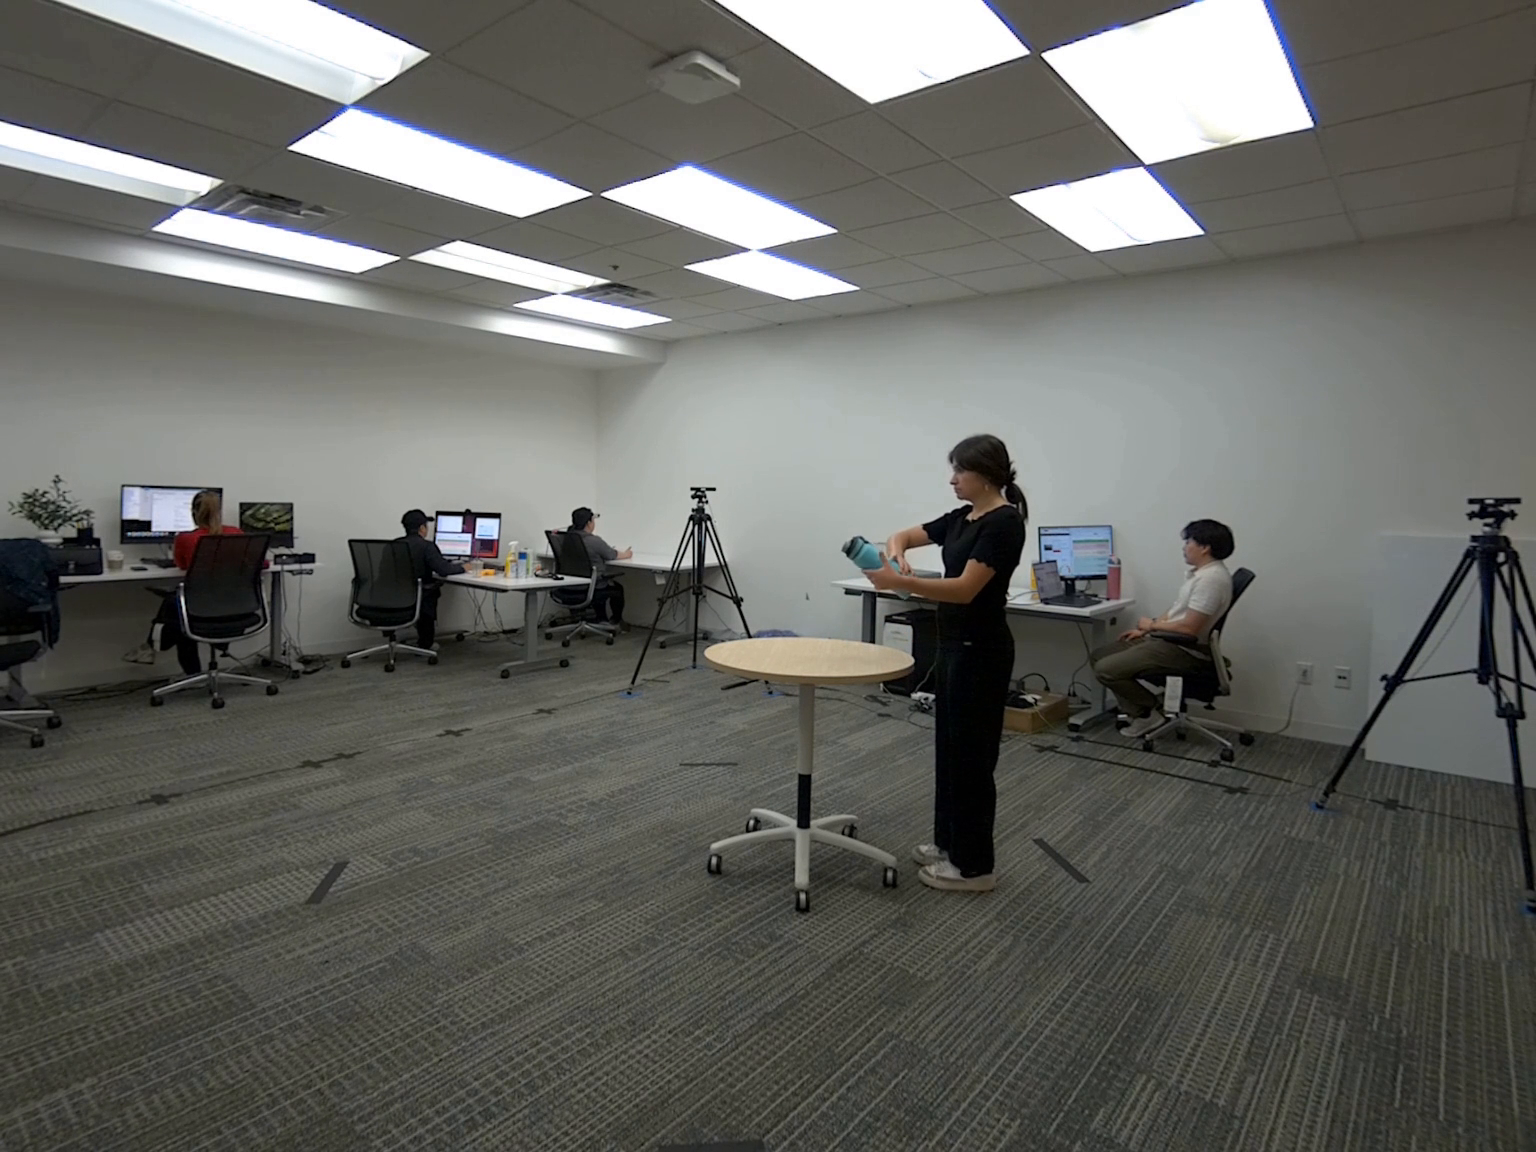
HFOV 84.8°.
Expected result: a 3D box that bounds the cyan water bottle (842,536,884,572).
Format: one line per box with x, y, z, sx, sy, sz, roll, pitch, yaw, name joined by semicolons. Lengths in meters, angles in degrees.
0.378;-0.044;2.983;0.284;0.092;0.092;34;5;2;cyan water bottle
